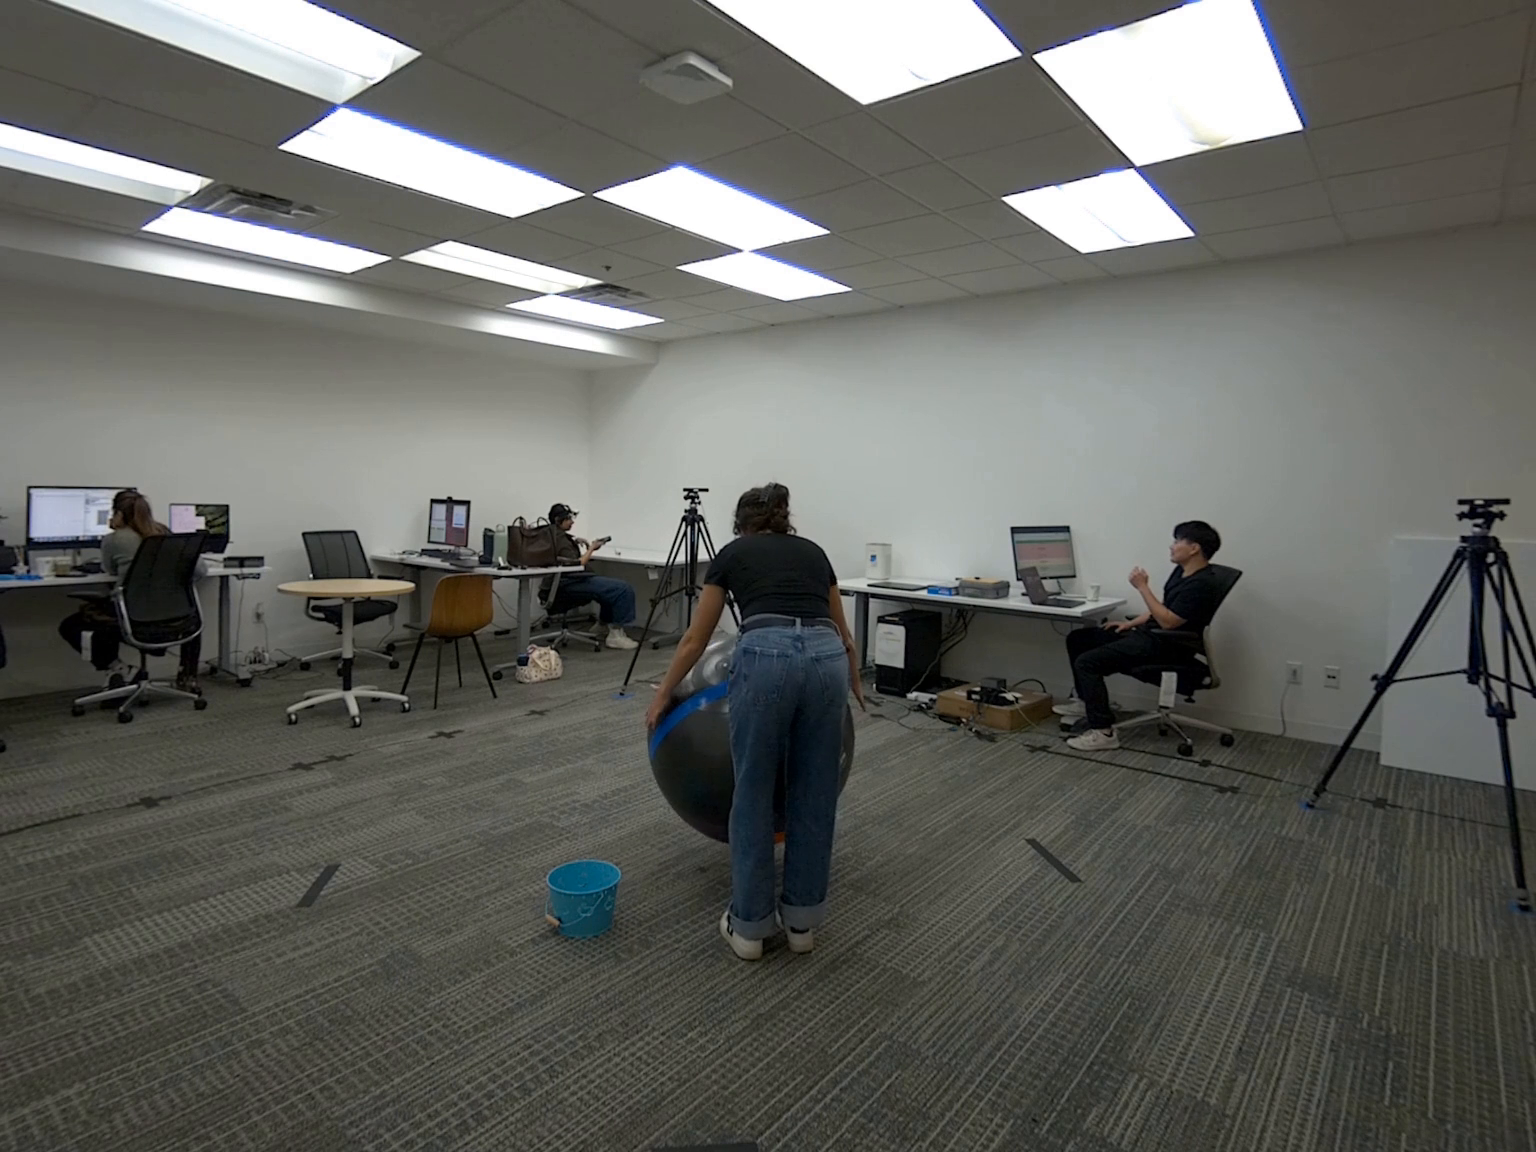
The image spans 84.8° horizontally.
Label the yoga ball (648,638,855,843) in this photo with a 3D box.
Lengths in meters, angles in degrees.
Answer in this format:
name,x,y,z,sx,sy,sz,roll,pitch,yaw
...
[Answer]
name,x,y,z,sx,sy,sz,roll,pitch,yaw
yoga ball,-0.067,0.609,3.132,0.757,0.755,0.762,1,4,-2
